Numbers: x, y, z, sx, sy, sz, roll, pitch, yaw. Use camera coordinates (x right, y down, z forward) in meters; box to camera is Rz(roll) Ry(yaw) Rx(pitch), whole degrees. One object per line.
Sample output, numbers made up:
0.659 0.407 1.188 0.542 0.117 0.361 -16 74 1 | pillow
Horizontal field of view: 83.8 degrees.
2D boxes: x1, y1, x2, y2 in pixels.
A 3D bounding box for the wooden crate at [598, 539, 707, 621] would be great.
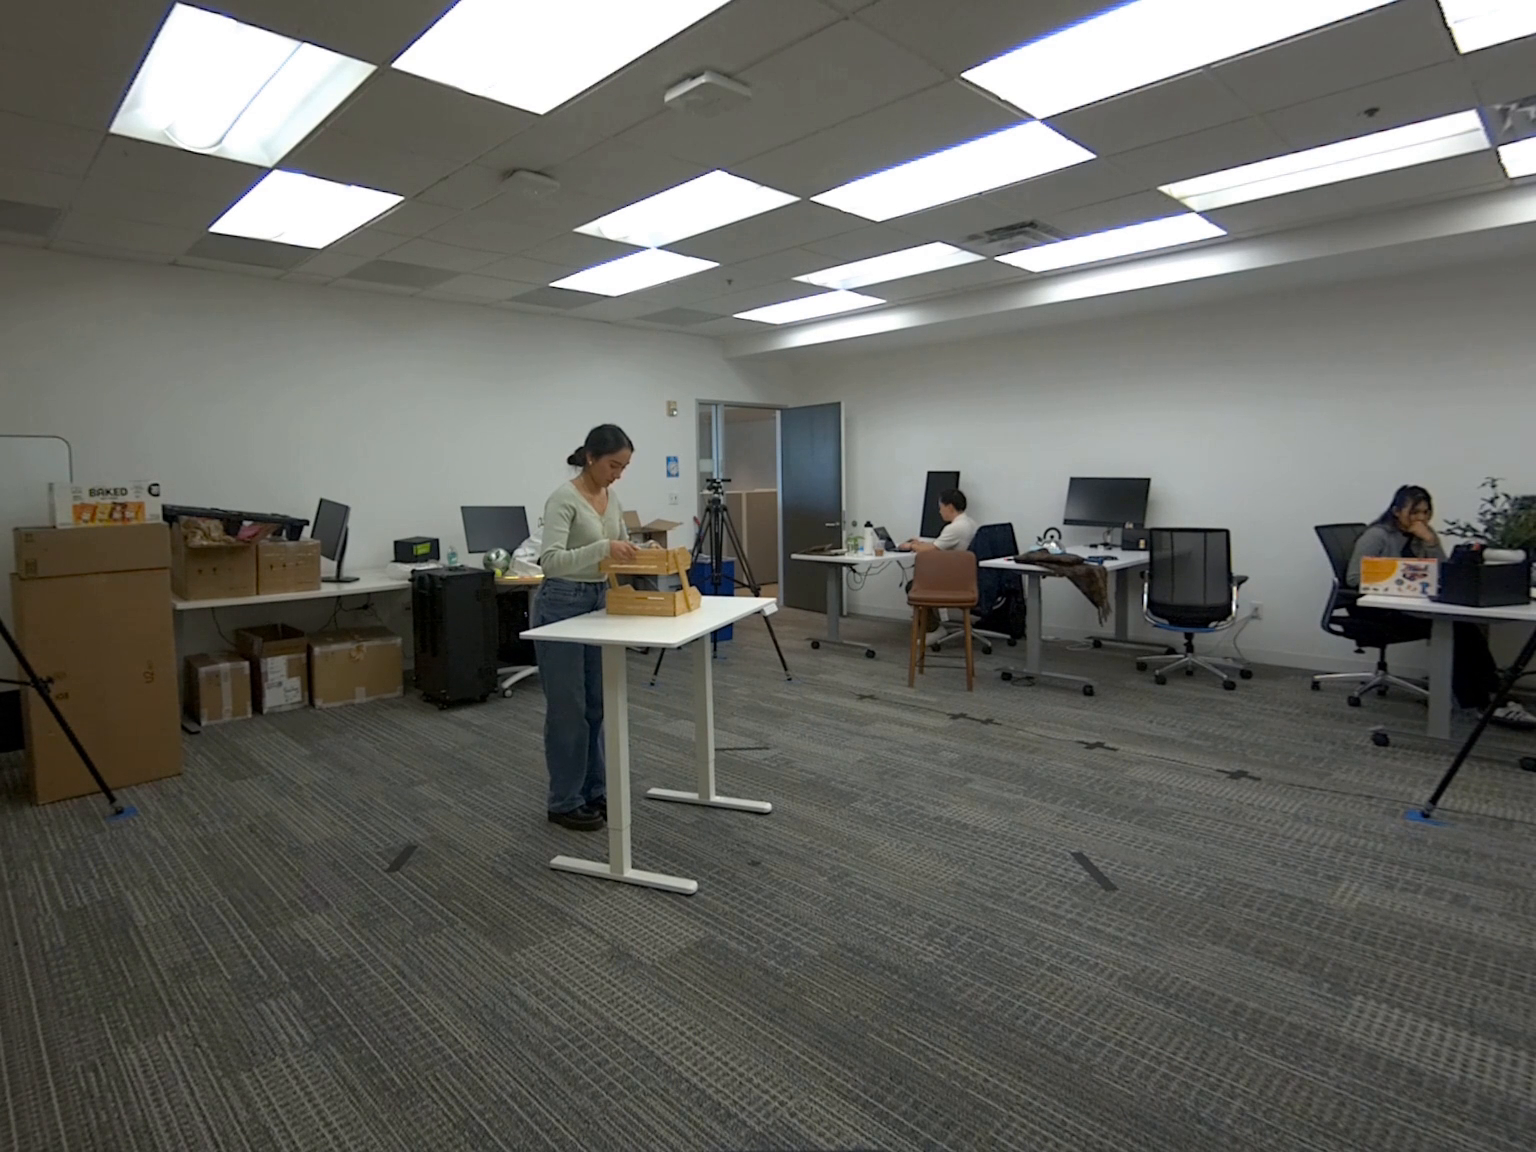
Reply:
-0.451 0.005 3.361 0.331 0.272 0.297 1 5 20 | wooden crate
